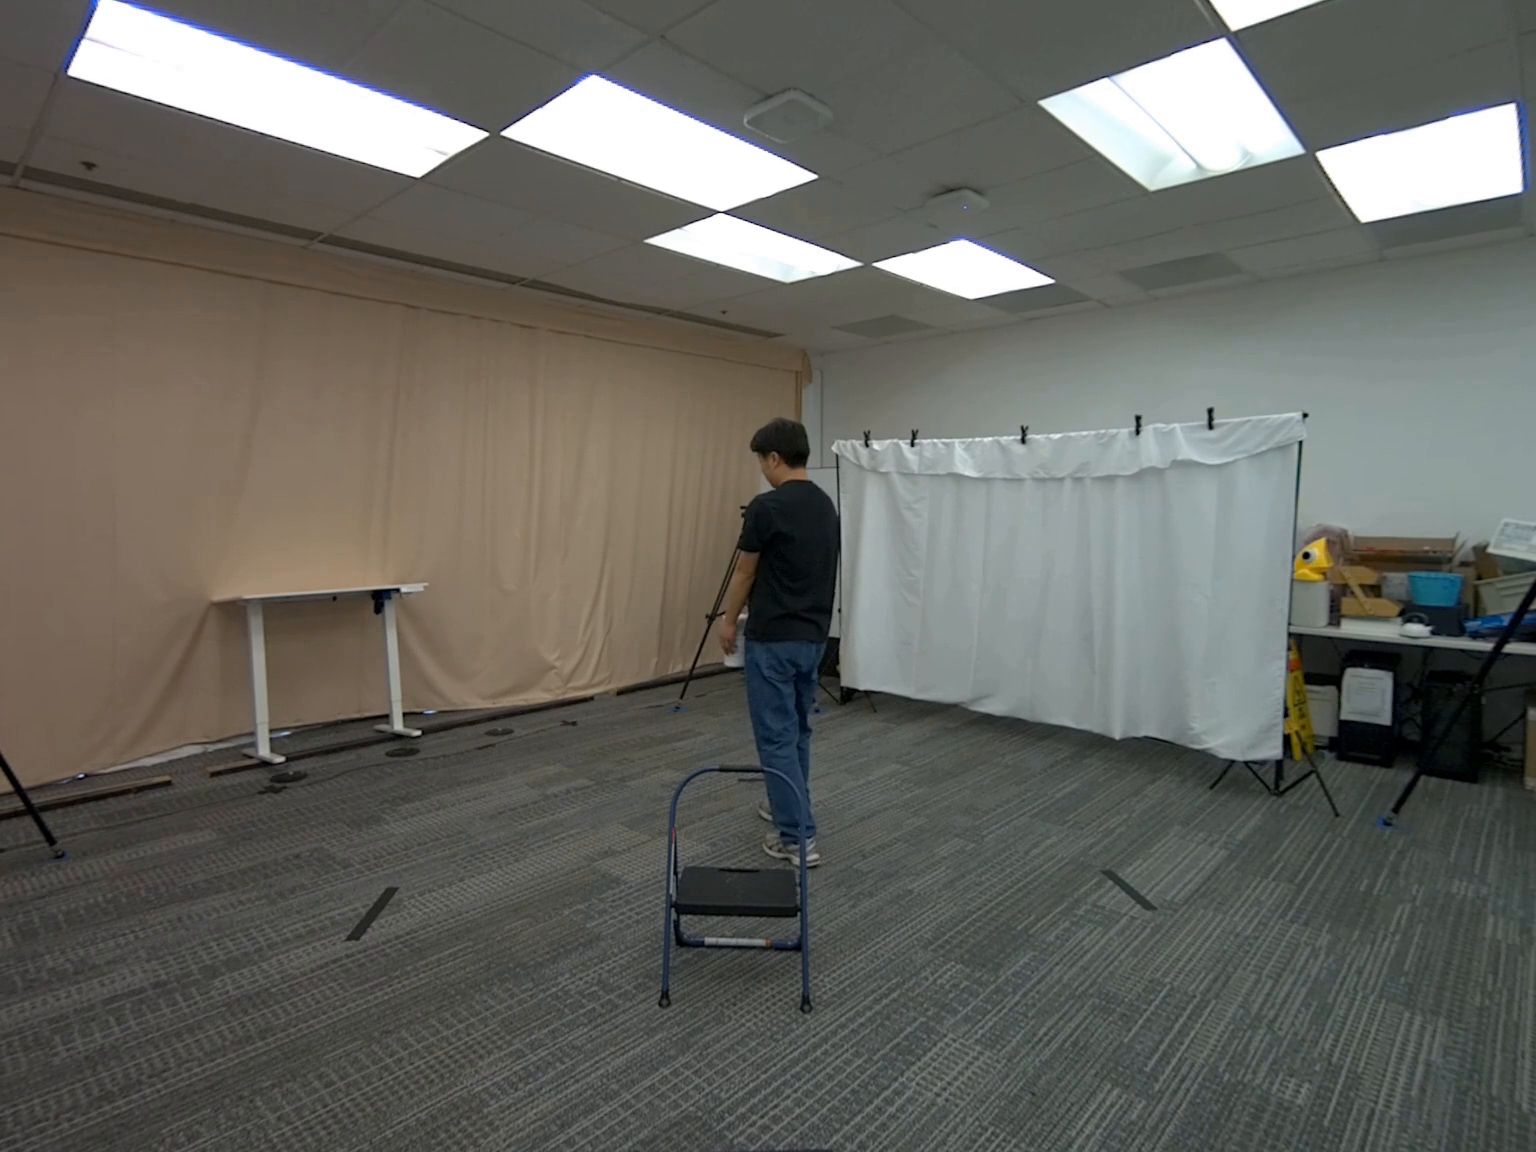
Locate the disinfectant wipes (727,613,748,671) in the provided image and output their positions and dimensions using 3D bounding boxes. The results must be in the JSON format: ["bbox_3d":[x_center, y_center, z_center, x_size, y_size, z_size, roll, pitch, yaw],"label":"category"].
[{"bbox_3d":[-0.119,0.278,3.623,0.118,0.217,0.118,-3,5,-2],"label":"disinfectant wipes"}]
